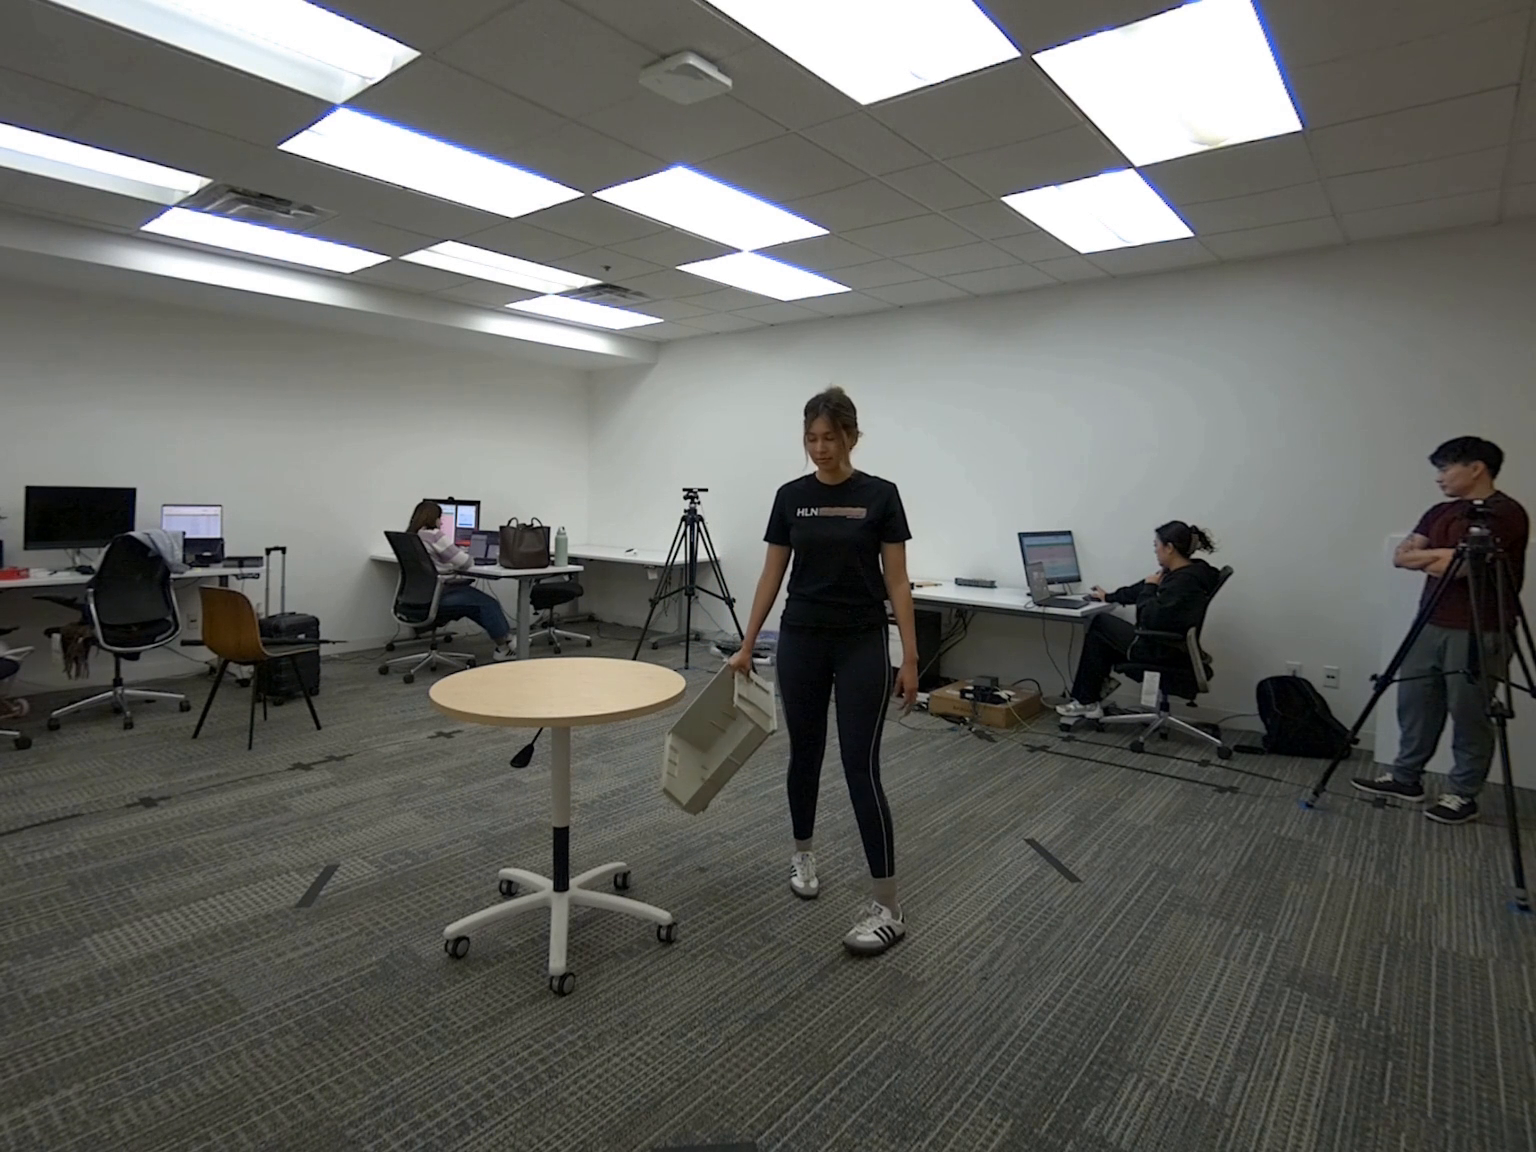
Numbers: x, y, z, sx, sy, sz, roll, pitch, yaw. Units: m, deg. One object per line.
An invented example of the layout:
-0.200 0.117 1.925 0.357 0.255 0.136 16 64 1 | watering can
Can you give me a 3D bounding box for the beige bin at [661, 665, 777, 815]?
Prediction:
-0.178 0.554 2.954 0.186 0.422 0.384 36 16 -13 | beige bin
